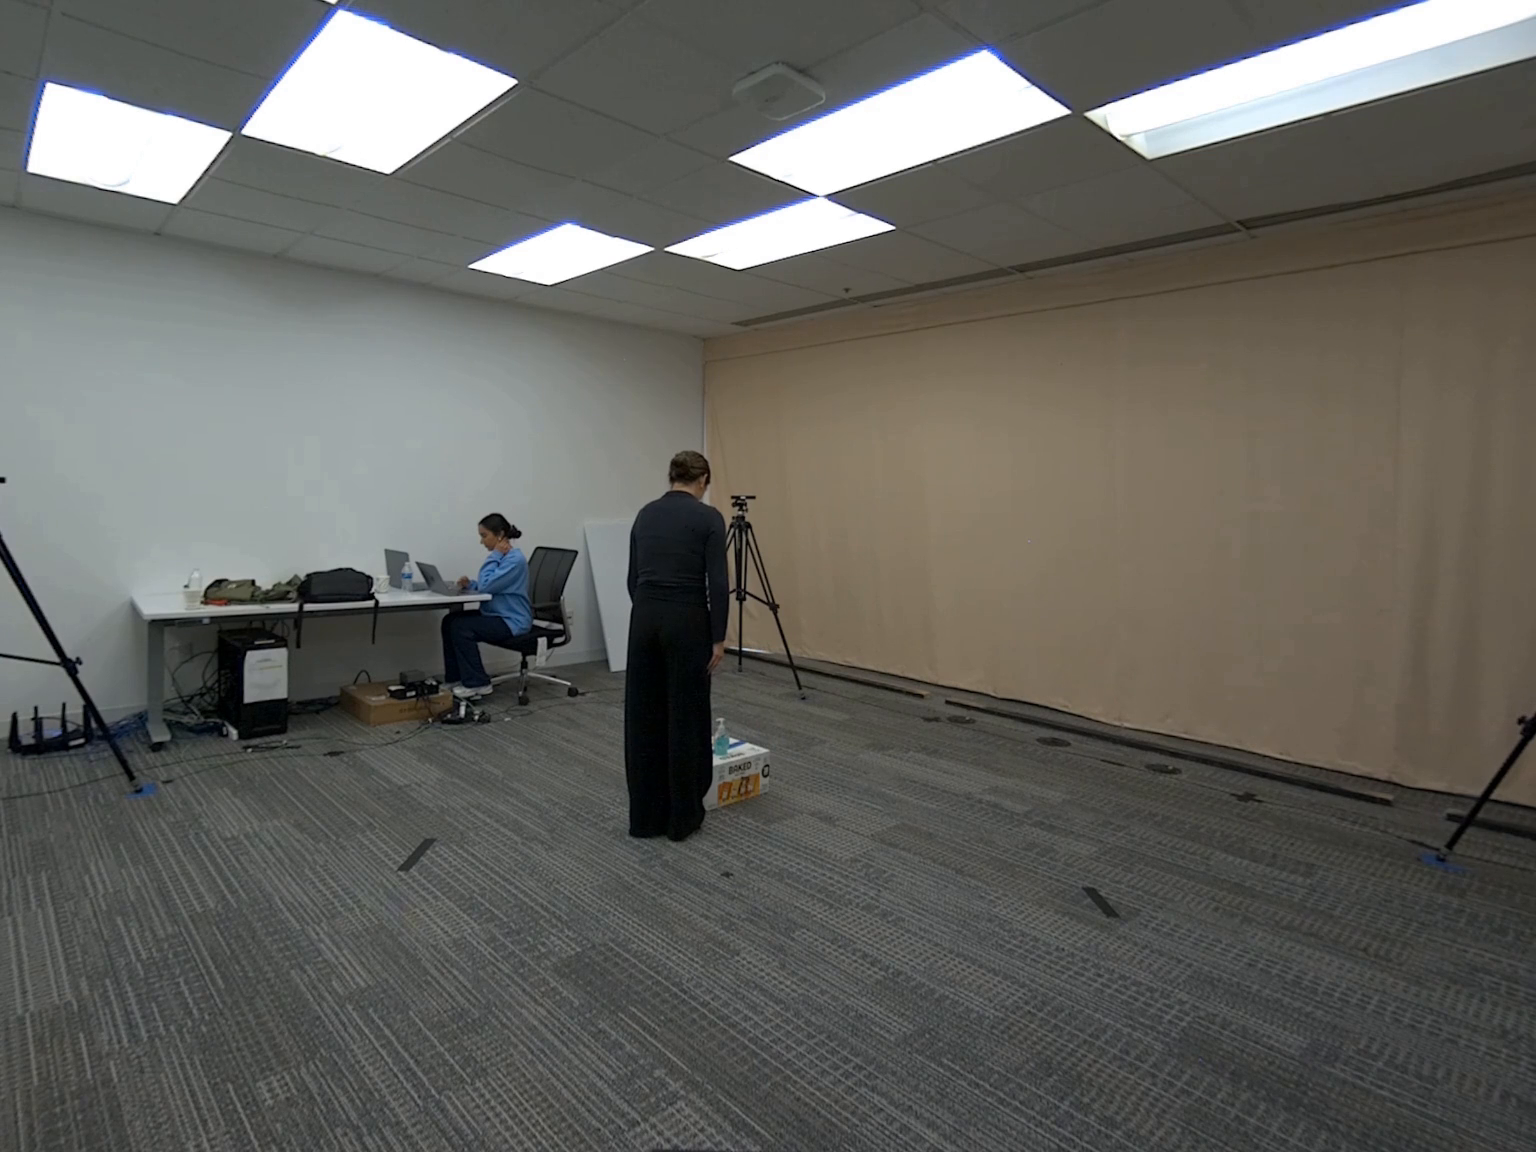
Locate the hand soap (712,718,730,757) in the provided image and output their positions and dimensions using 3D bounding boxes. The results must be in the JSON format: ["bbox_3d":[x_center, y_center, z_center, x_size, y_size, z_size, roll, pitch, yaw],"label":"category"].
[{"bbox_3d":[-0.224,0.749,3.935,0.082,0.168,0.044,3,-1,-38],"label":"hand soap"}]
